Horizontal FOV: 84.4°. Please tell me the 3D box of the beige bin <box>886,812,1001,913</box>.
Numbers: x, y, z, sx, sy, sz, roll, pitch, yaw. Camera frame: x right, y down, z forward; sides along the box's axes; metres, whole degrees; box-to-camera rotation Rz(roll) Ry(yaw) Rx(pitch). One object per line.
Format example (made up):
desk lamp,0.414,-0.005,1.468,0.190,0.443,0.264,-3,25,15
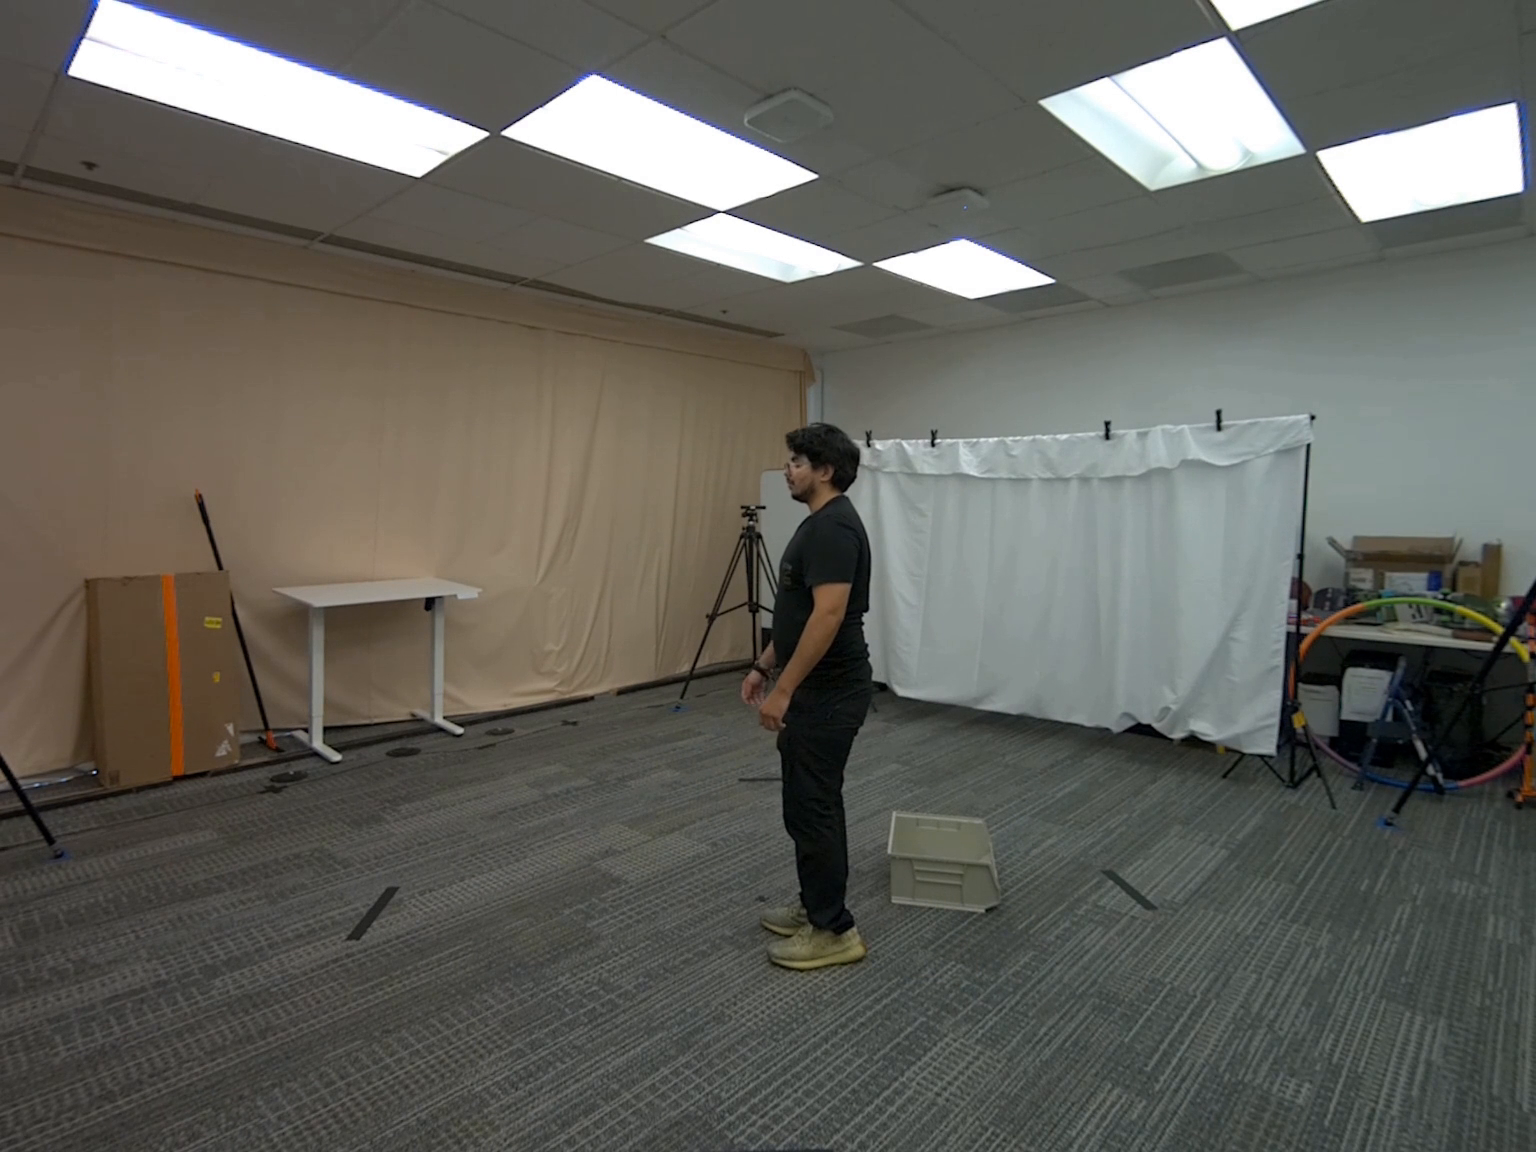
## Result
beige bin,0.651,1.045,3.099,0.383,0.188,0.417,0,5,12
